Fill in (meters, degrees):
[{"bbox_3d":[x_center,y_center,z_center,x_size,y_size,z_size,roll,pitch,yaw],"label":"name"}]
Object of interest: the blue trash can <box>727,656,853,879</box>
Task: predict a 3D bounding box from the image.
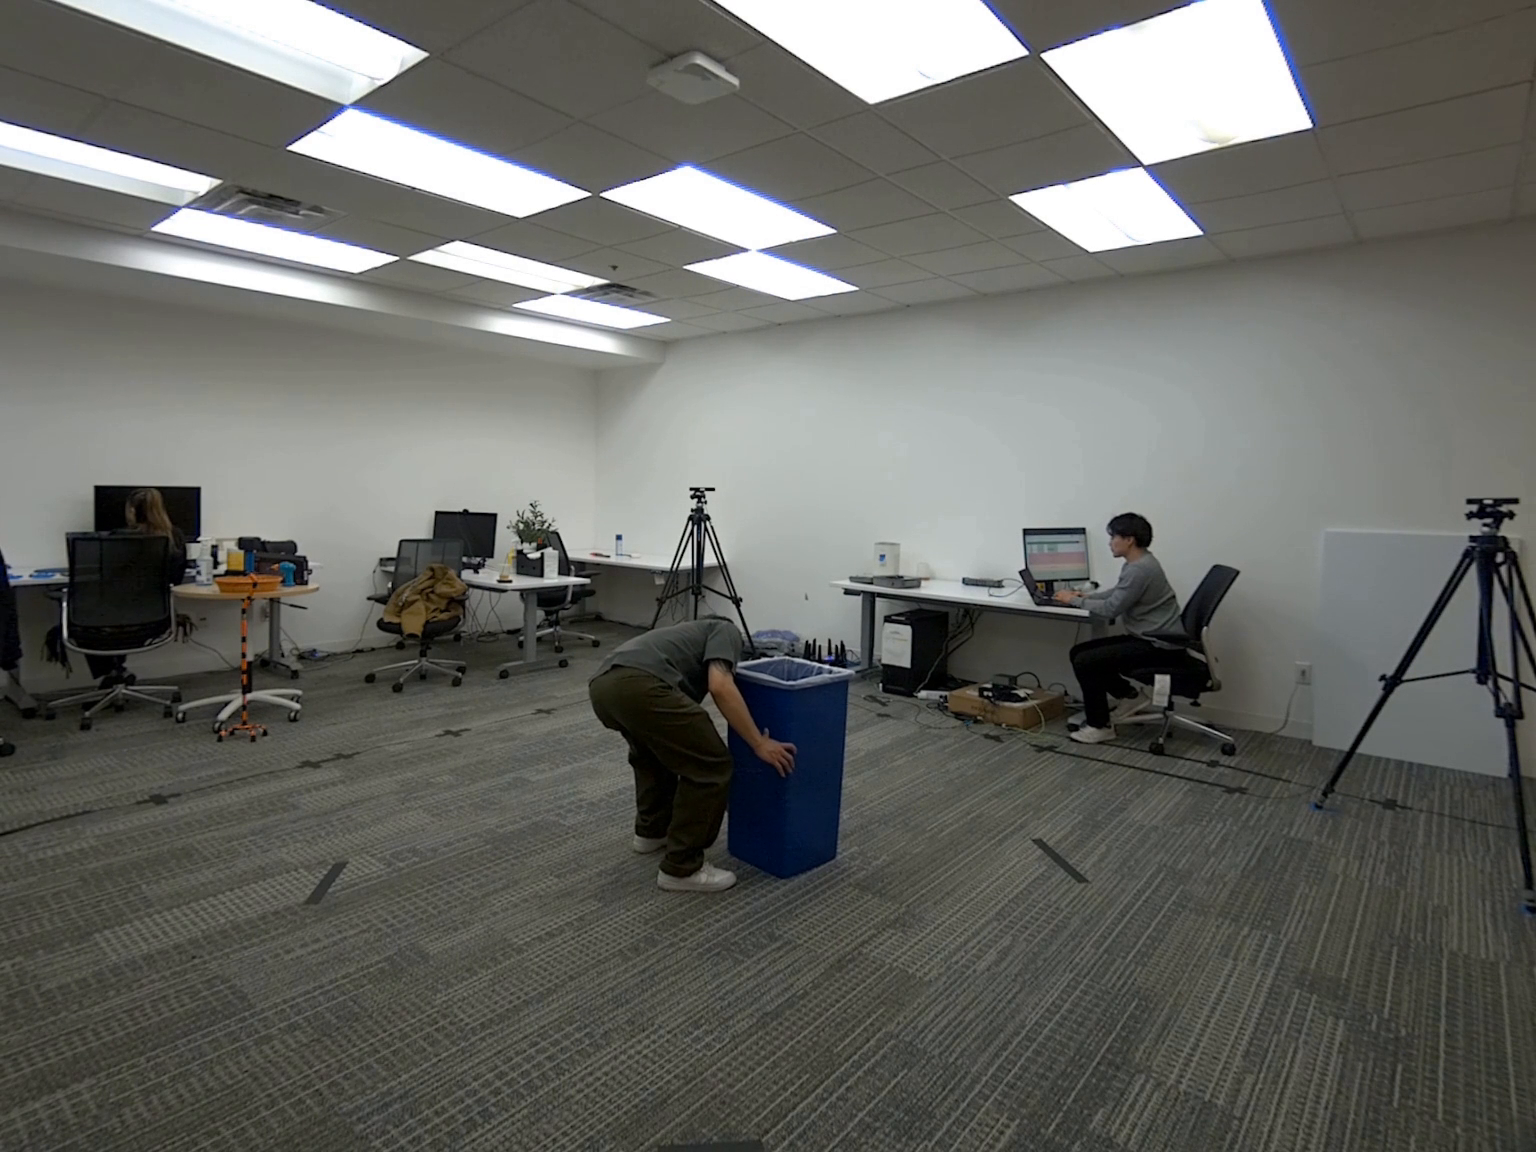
[{"bbox_3d":[0.067,0.704,3.217,0.366,0.712,0.387,-2,3,-45],"label":"blue trash can"}]
